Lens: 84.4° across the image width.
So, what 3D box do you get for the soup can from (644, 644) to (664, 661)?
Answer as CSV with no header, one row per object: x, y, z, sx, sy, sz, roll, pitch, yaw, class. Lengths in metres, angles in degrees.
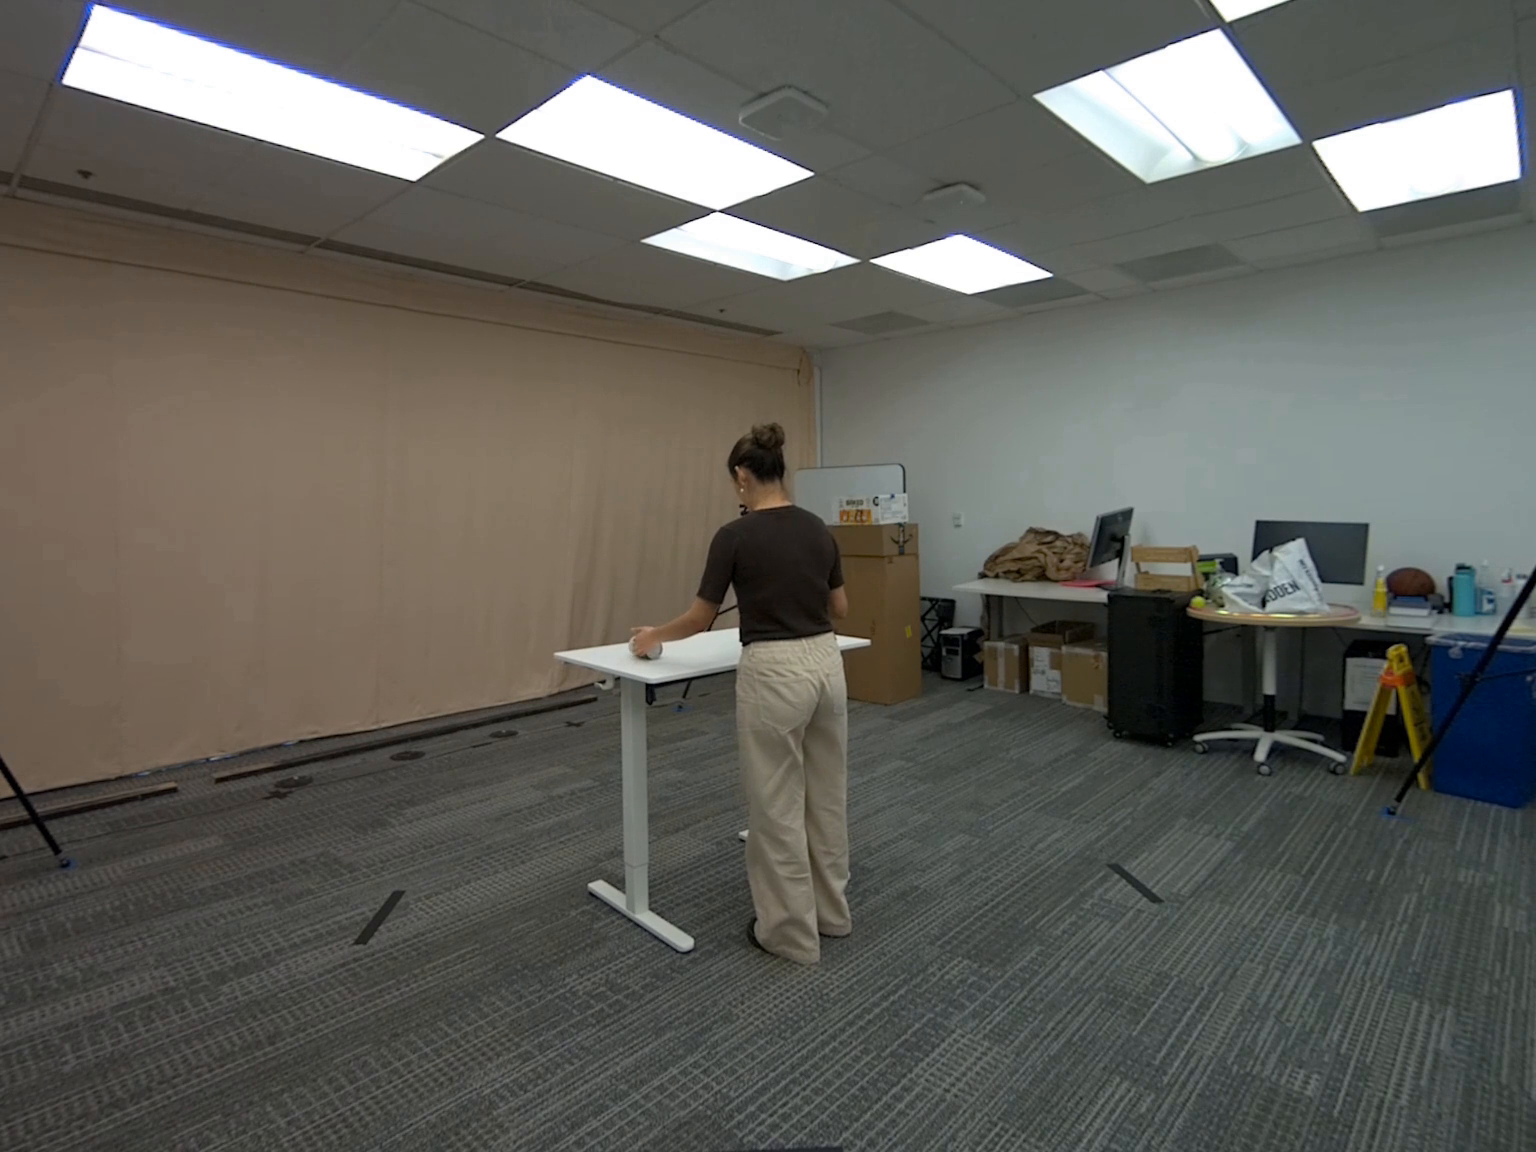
-0.408,0.244,2.844,0.065,0.067,0.125,-4,5,-38,soup can
